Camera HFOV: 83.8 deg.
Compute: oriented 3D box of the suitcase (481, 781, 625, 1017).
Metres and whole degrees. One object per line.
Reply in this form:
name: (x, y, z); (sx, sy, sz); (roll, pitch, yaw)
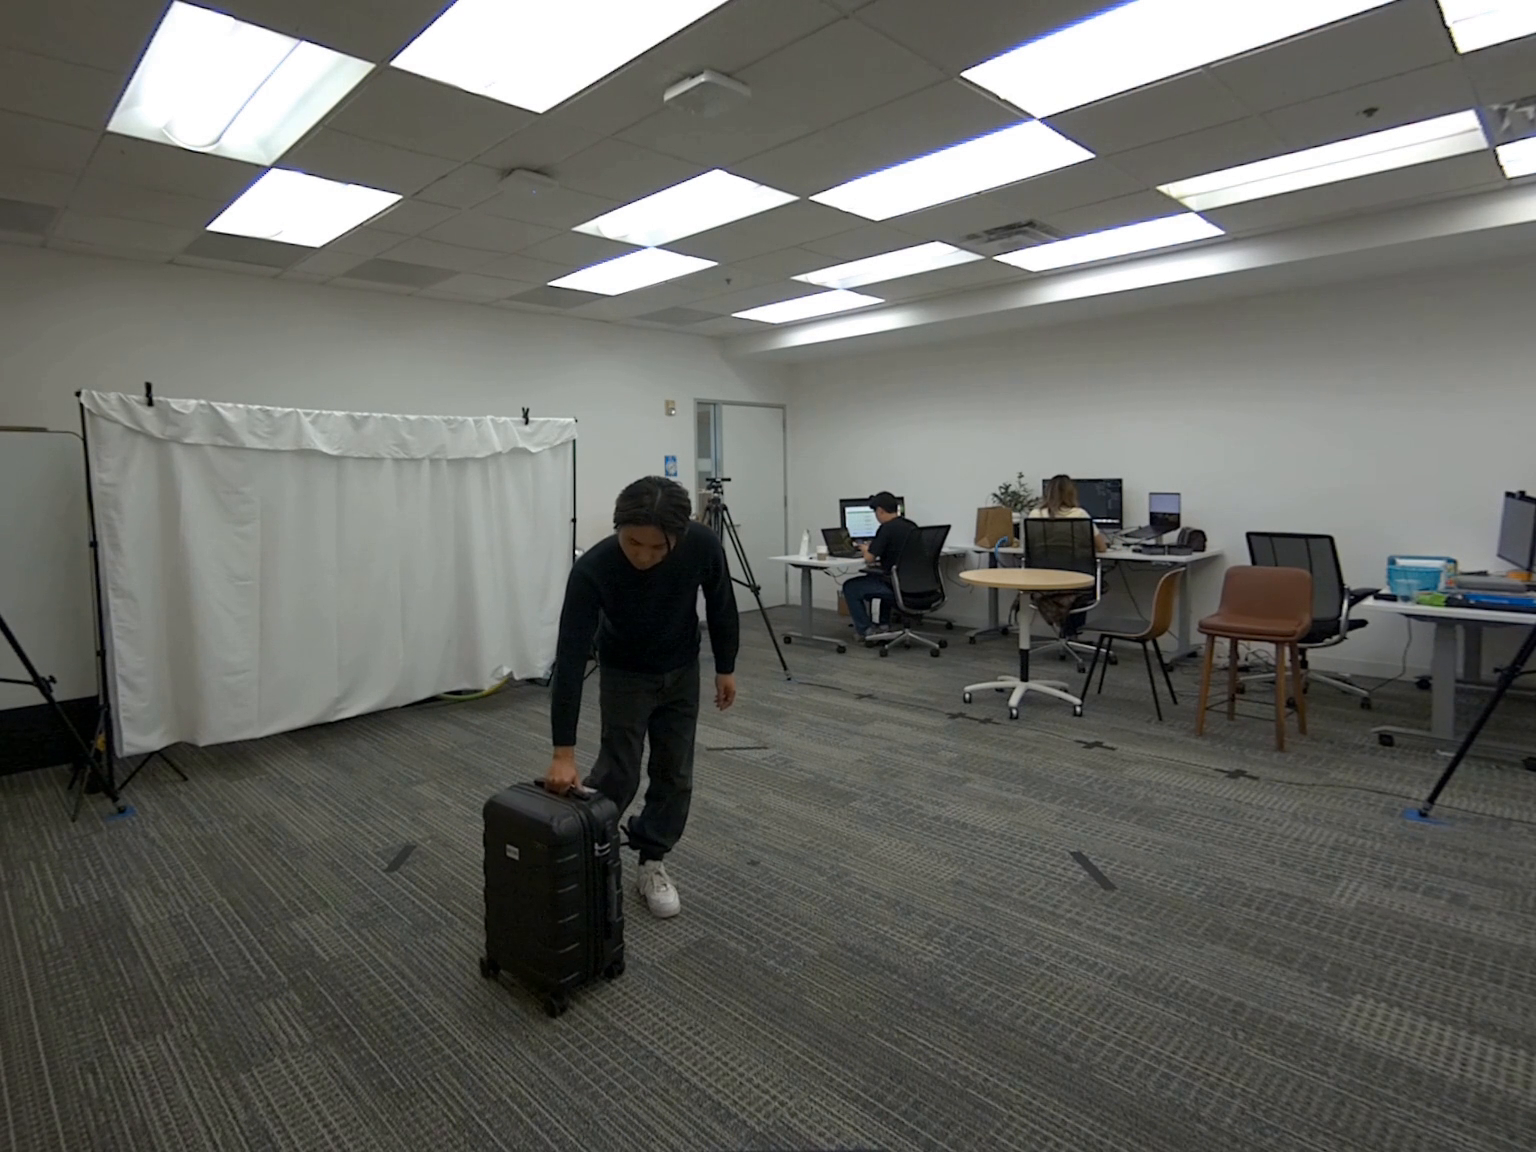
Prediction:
suitcase: (-0.607, 0.867, 2.388); (0.387, 0.546, 0.242); (5, 8, 39)
